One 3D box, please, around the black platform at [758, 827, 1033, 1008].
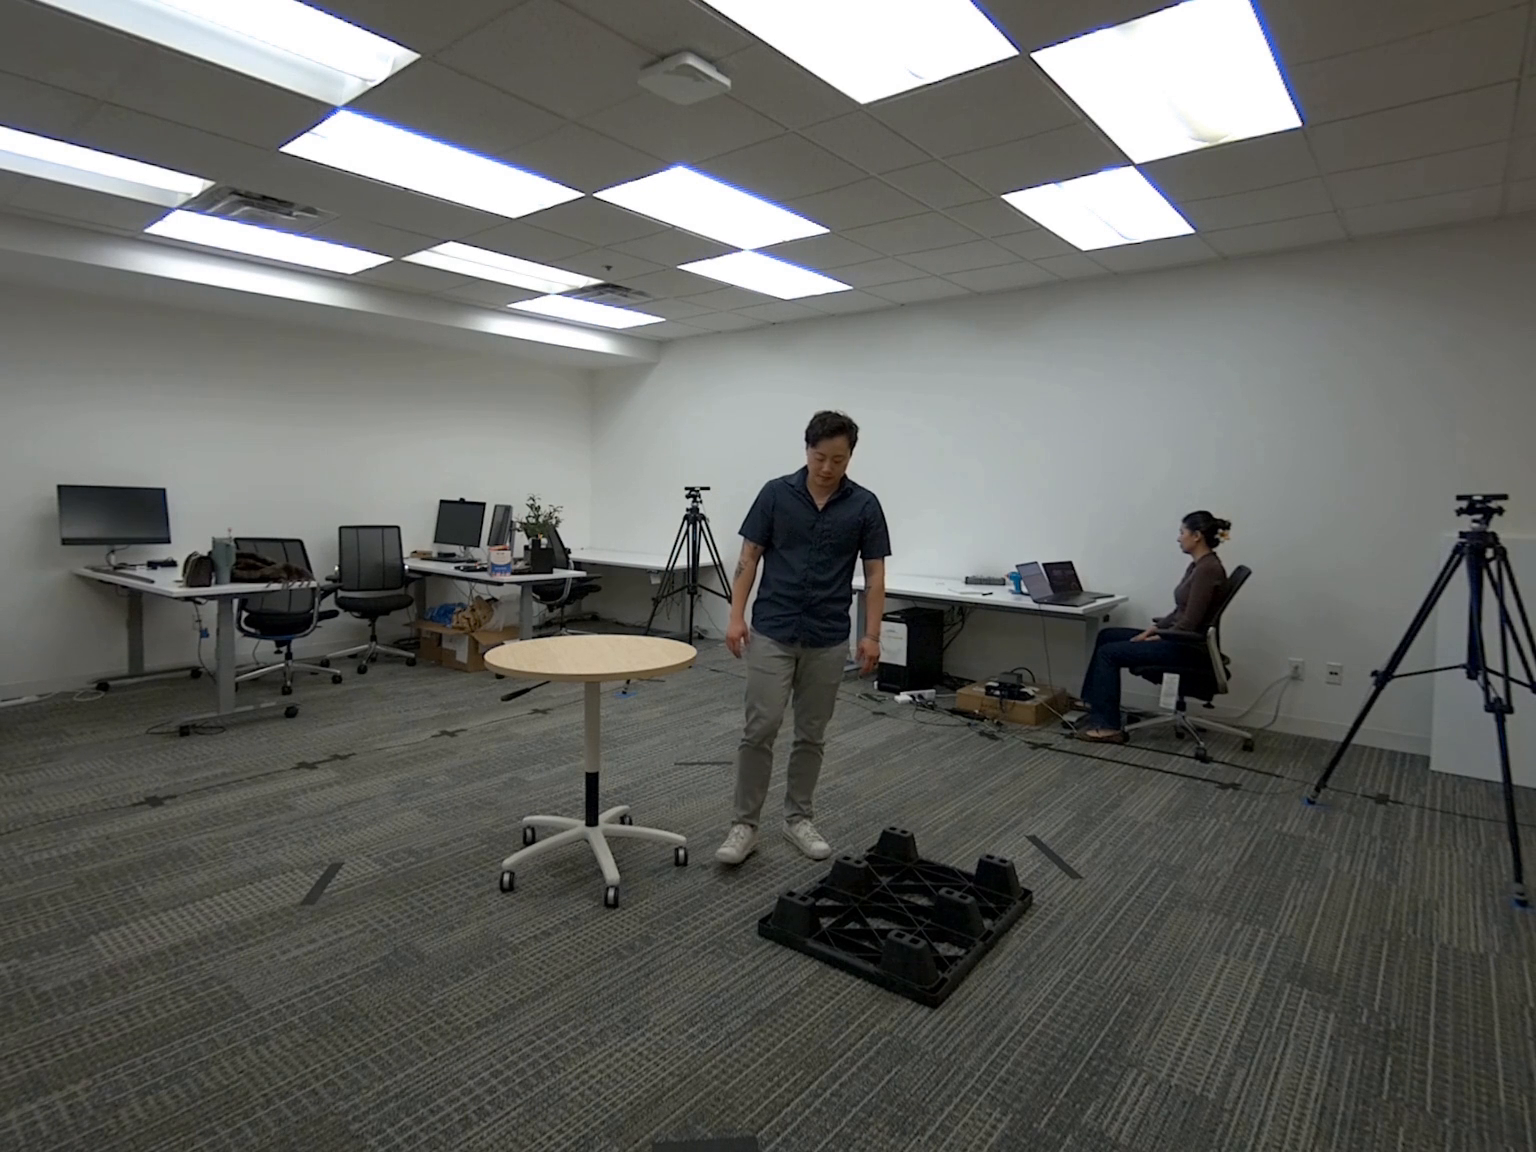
[{"bbox_3d":[0.430,1.046,2.765,0.625,0.143,0.783,5,7,36],"label":"black platform"}]
